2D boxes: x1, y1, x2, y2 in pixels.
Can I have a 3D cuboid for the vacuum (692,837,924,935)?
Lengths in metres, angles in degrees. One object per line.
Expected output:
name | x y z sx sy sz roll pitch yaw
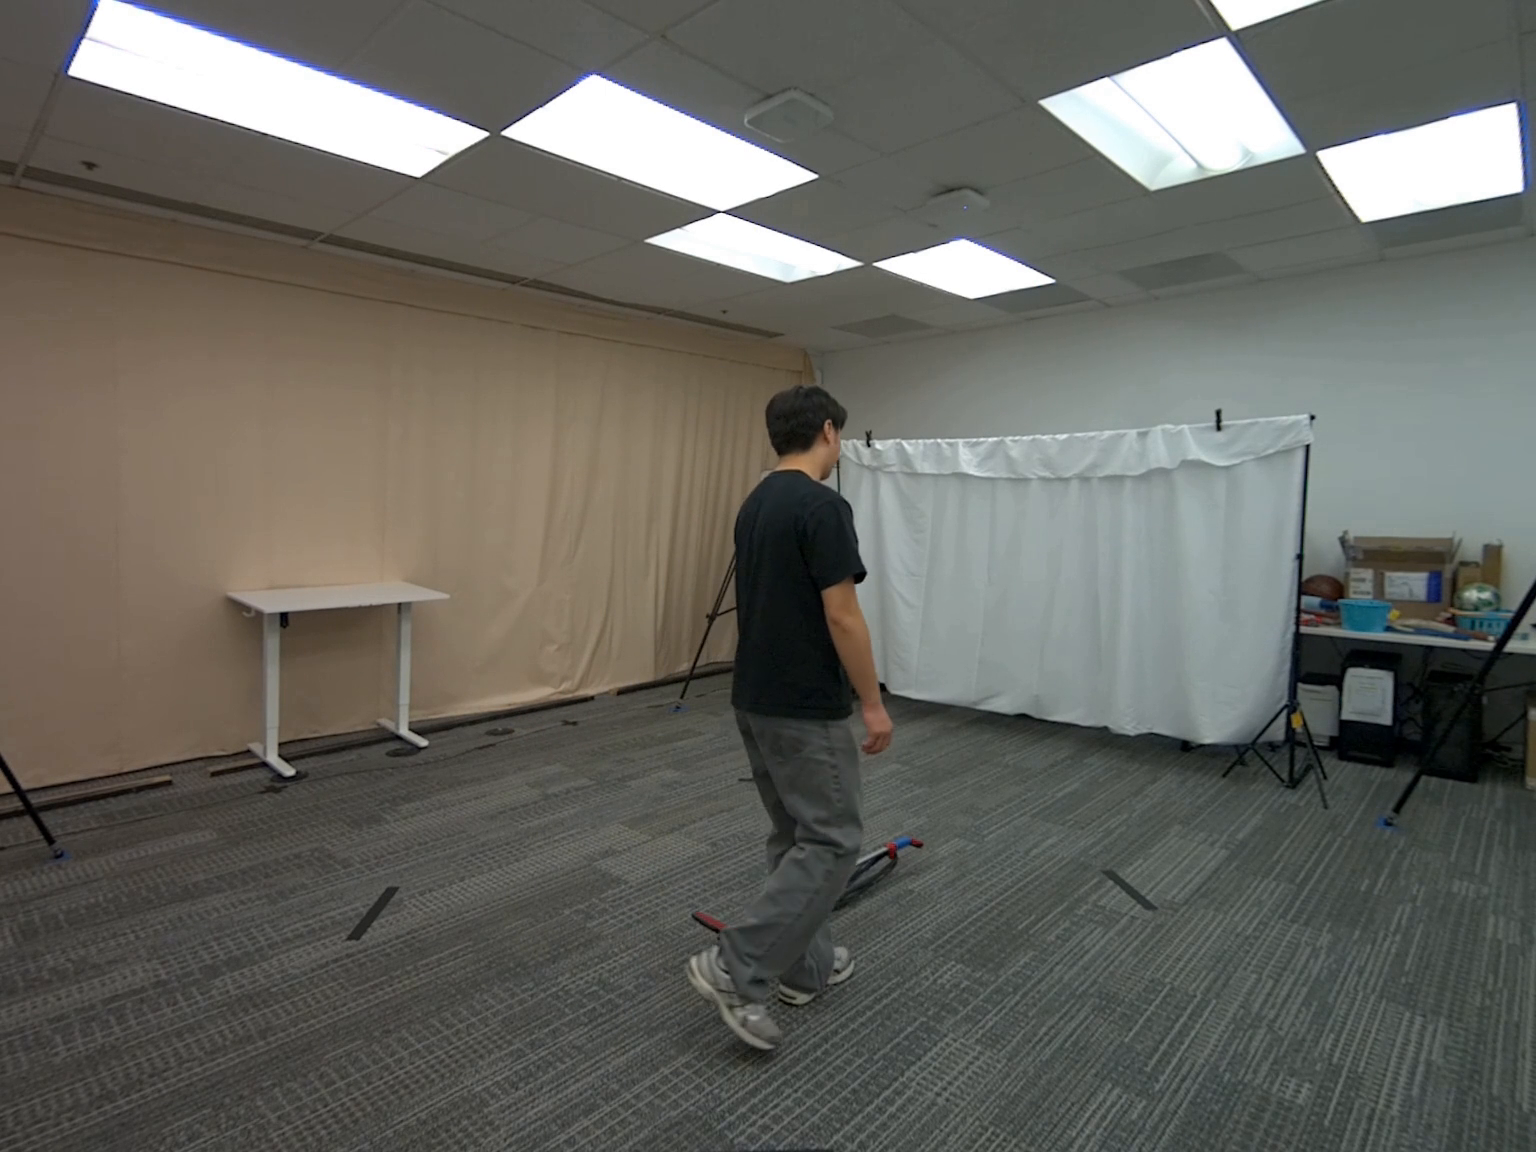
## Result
vacuum | 0.242 1.093 2.937 1.017 0.143 0.261 -4 8 -44
